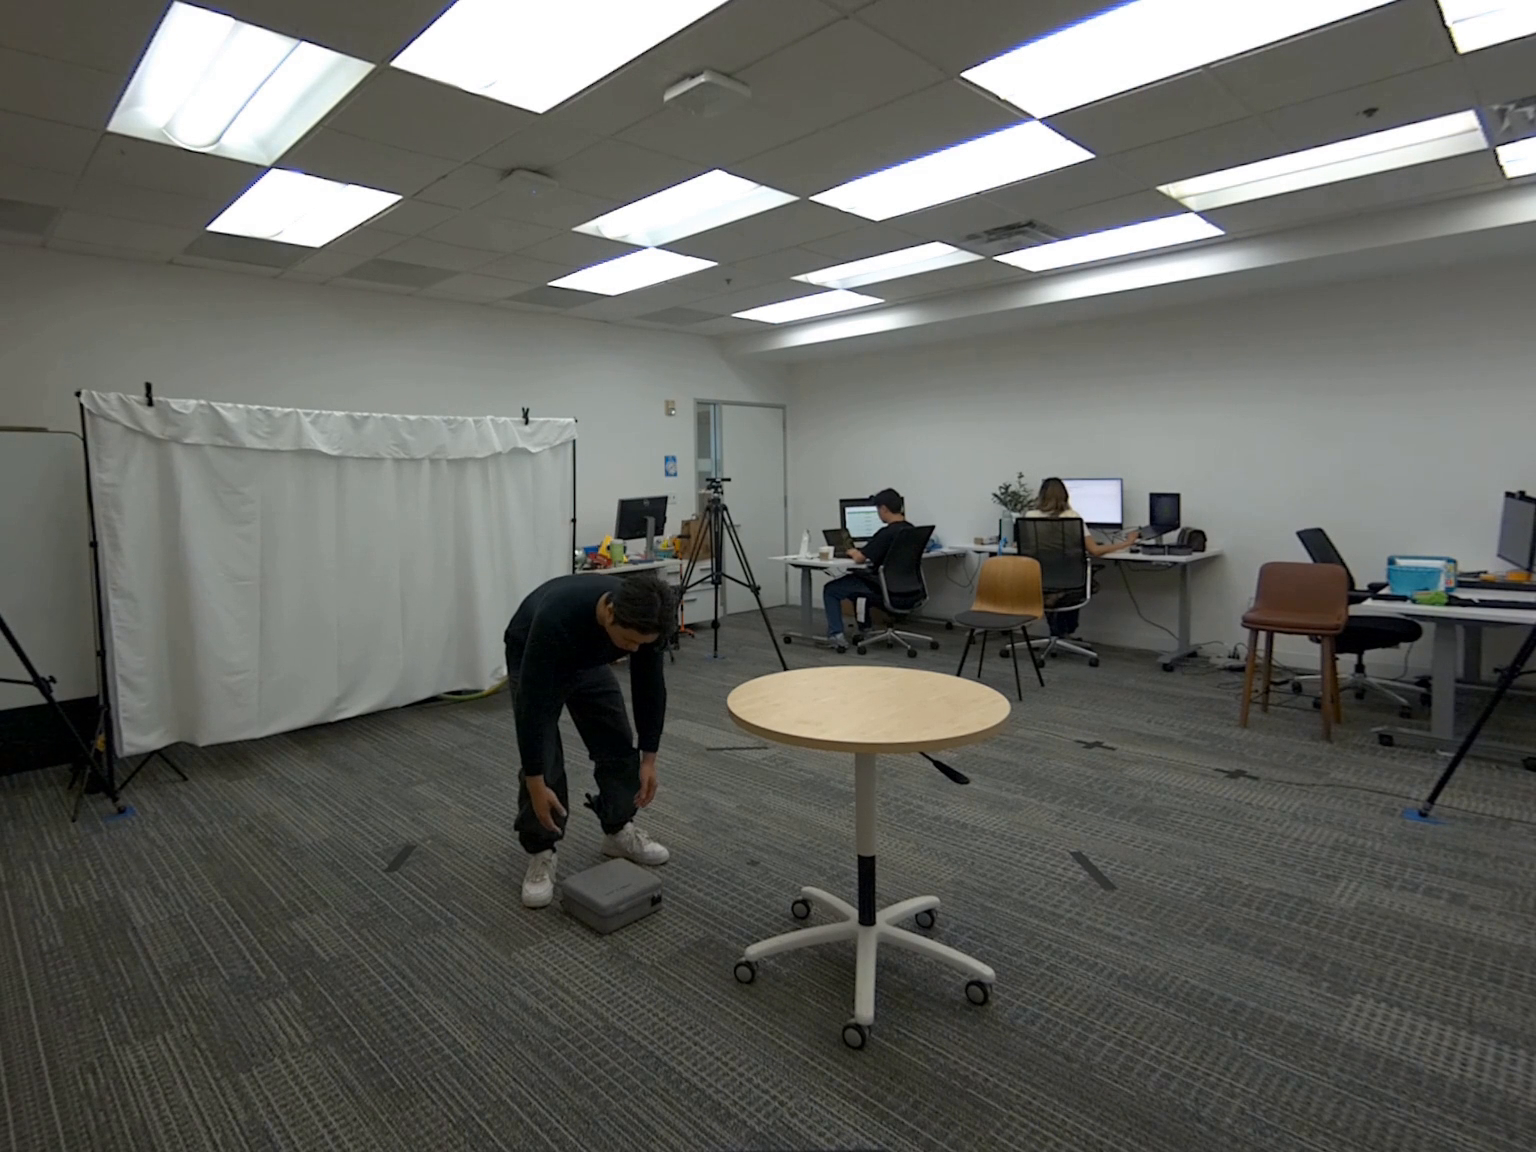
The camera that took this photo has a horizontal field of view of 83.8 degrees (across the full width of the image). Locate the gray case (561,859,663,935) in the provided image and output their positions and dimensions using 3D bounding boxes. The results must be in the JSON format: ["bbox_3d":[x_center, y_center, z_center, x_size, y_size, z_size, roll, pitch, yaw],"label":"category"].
[{"bbox_3d":[-0.512,1.036,2.780,0.269,0.104,0.250,4,10,45],"label":"gray case"}]
